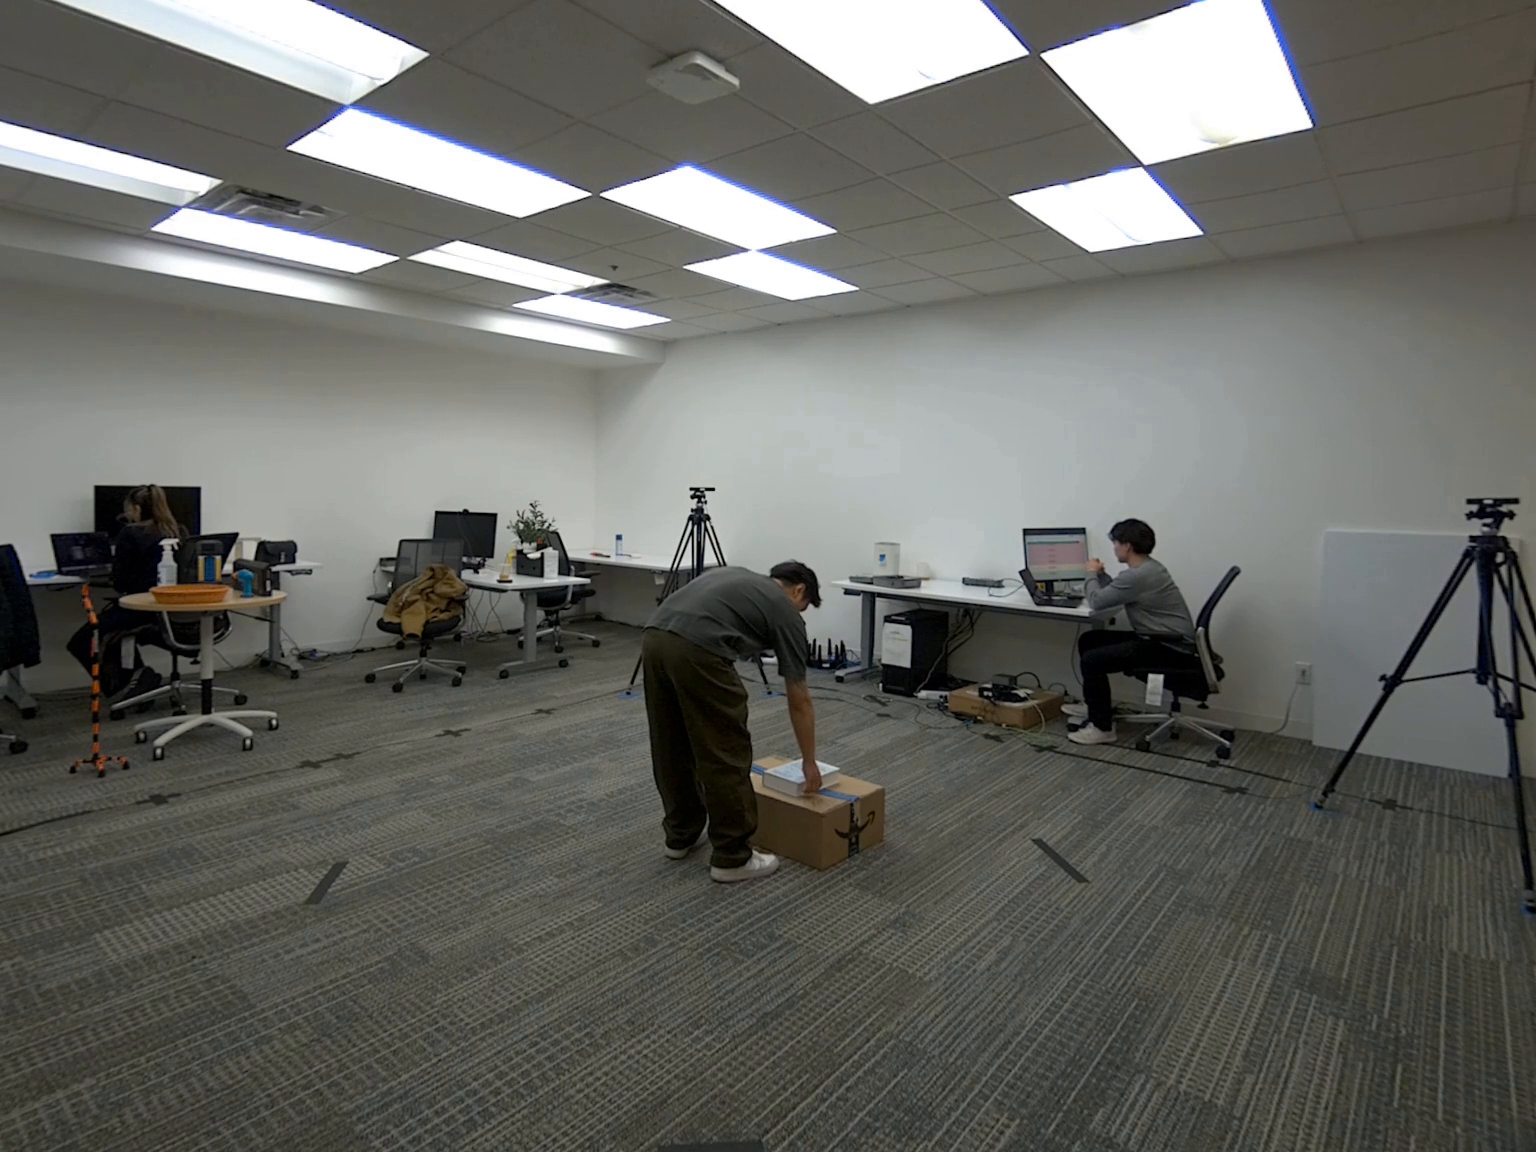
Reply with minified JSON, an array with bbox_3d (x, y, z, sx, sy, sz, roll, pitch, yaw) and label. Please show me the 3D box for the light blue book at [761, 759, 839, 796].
[{"bbox_3d":[0.131,0.805,3.436,0.253,0.059,0.198,-5,10,-44],"label":"light blue book"}]
